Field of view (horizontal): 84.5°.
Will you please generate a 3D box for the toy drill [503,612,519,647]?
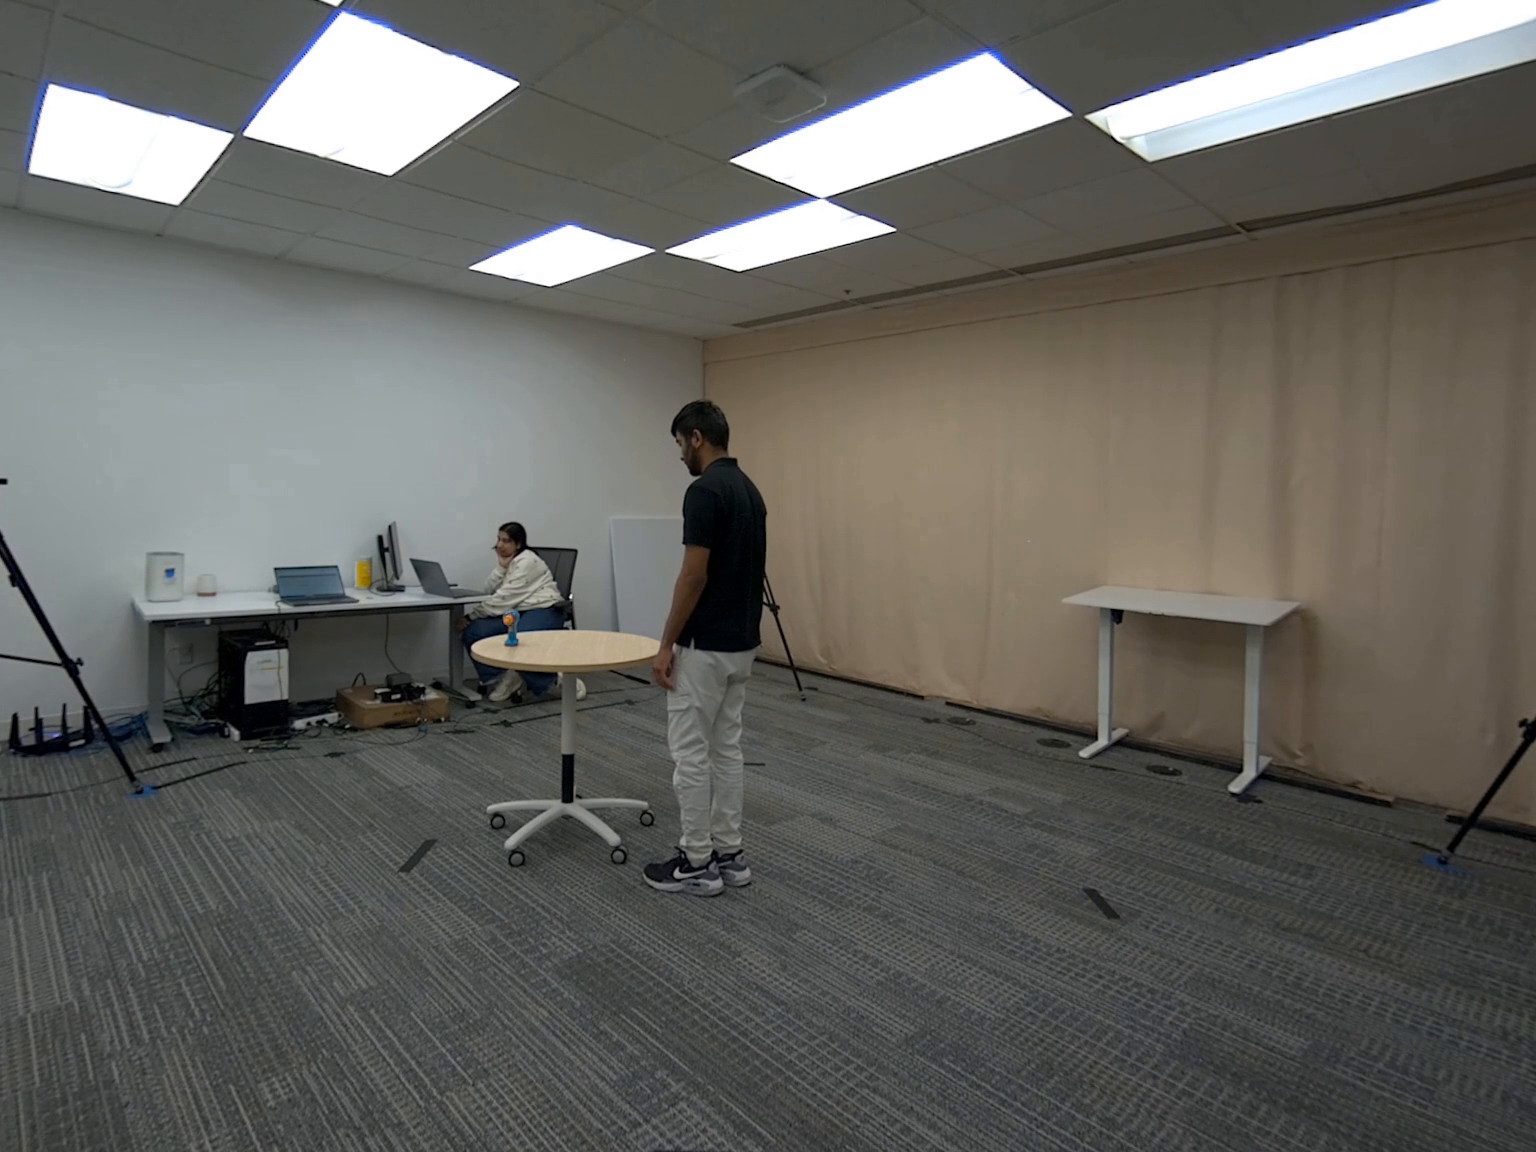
[{"bbox_3d":[-1.022,0.207,3.332,0.061,0.145,0.171,2,5,-6],"label":"toy drill"}]
